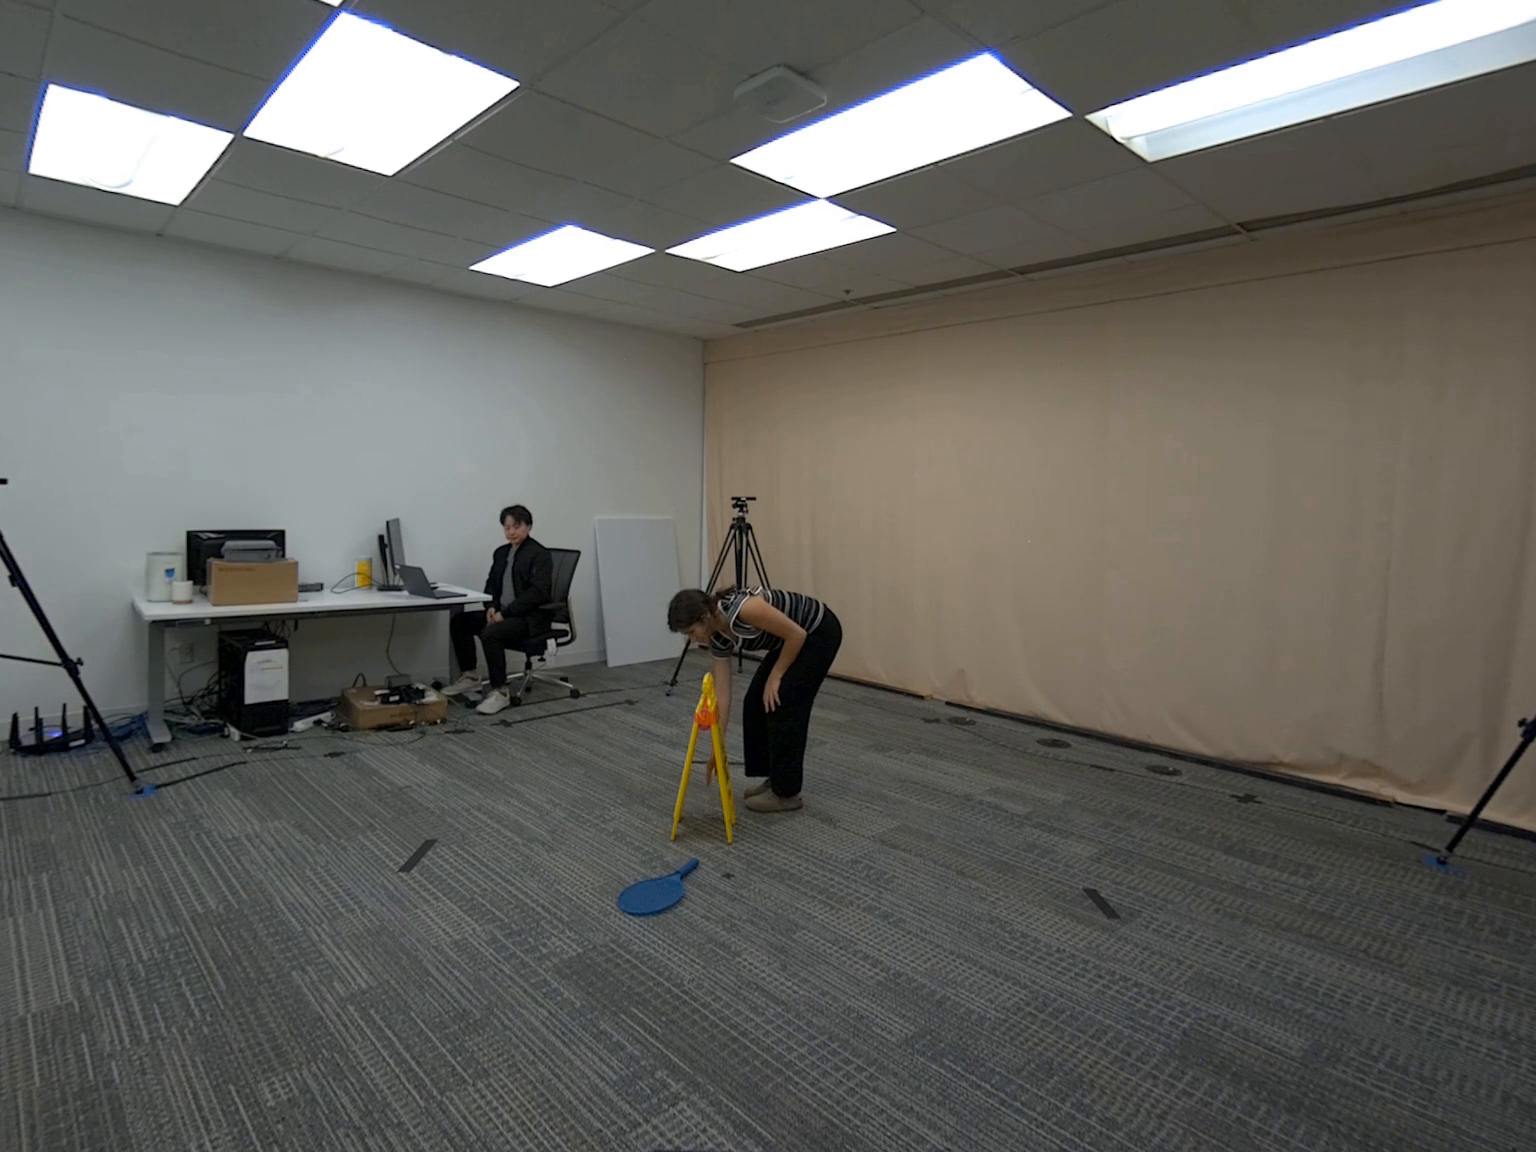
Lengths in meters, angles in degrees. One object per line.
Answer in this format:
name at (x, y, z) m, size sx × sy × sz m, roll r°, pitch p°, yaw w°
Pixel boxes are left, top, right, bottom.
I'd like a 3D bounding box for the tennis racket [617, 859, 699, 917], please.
tennis racket at (-0.375, 1.096, 2.993) m, size 0.218 × 0.031 × 0.426 m, roll 2°, pitch 6°, yaw 24°
